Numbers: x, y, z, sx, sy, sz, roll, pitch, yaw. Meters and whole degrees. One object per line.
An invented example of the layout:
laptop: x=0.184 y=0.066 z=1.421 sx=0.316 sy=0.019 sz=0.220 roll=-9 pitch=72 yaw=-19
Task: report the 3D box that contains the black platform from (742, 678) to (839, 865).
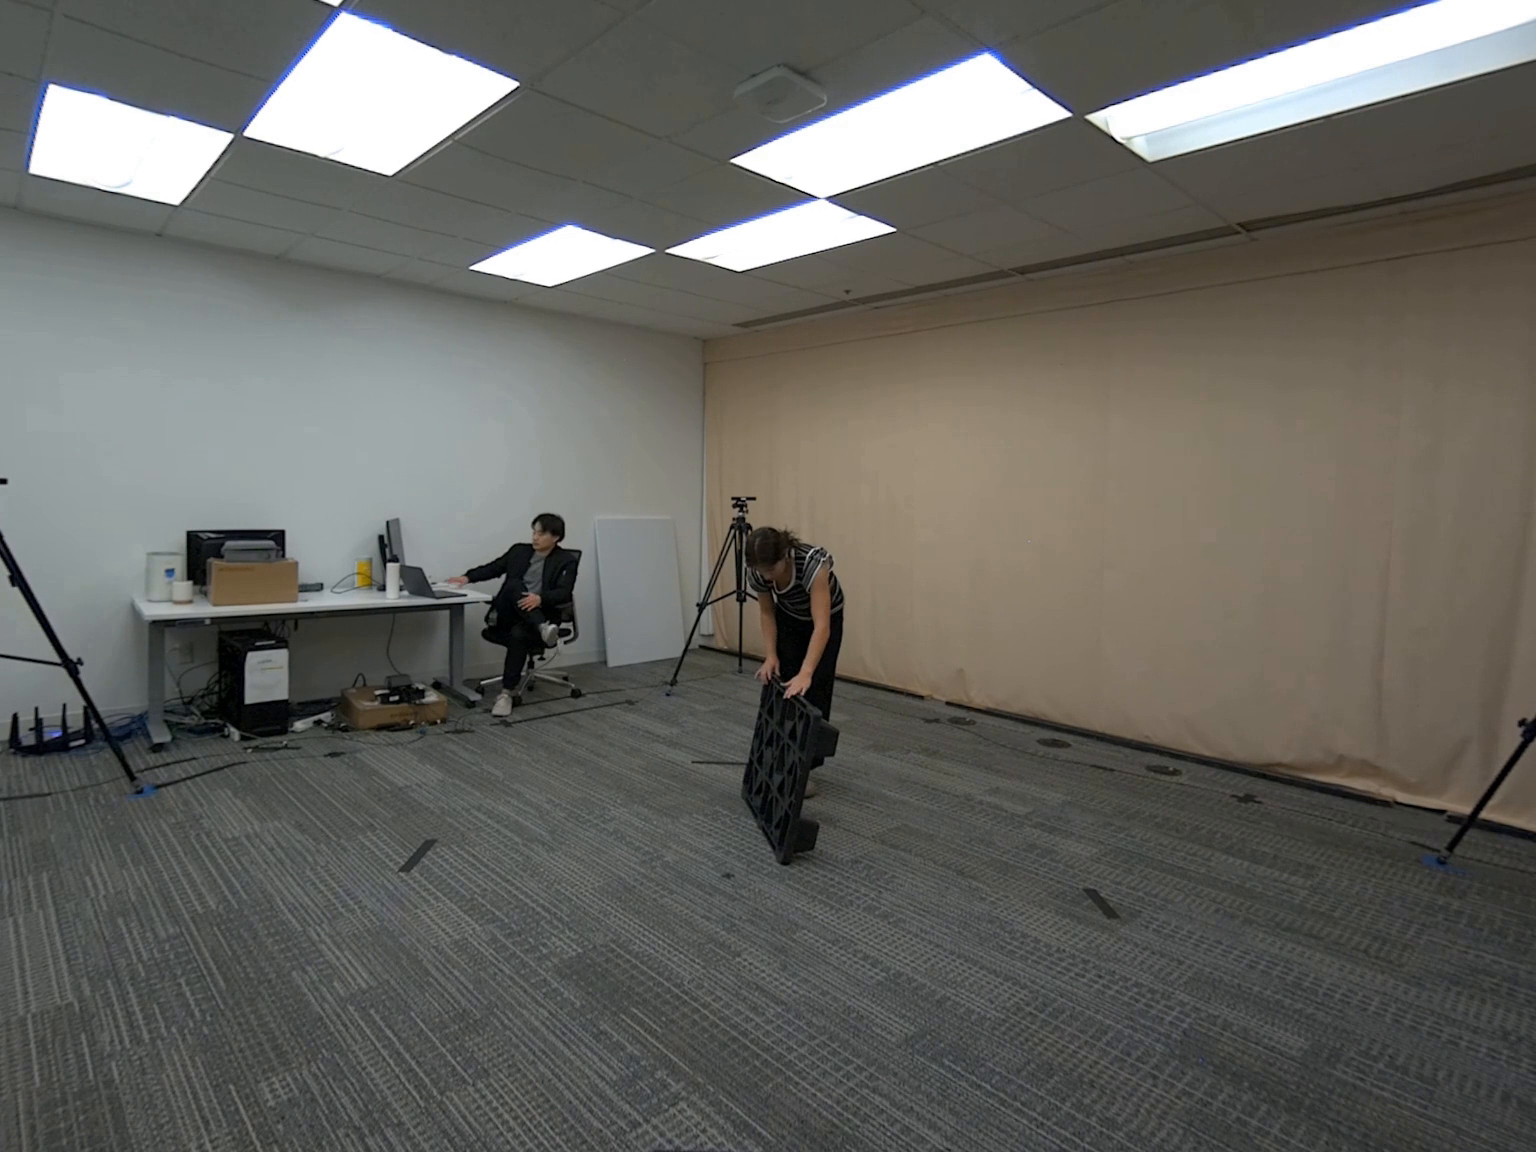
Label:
black platform: x=0.059 y=0.779 z=3.587 sx=0.142 sy=0.604 sz=0.815 roll=11 pitch=2 yaw=-13
